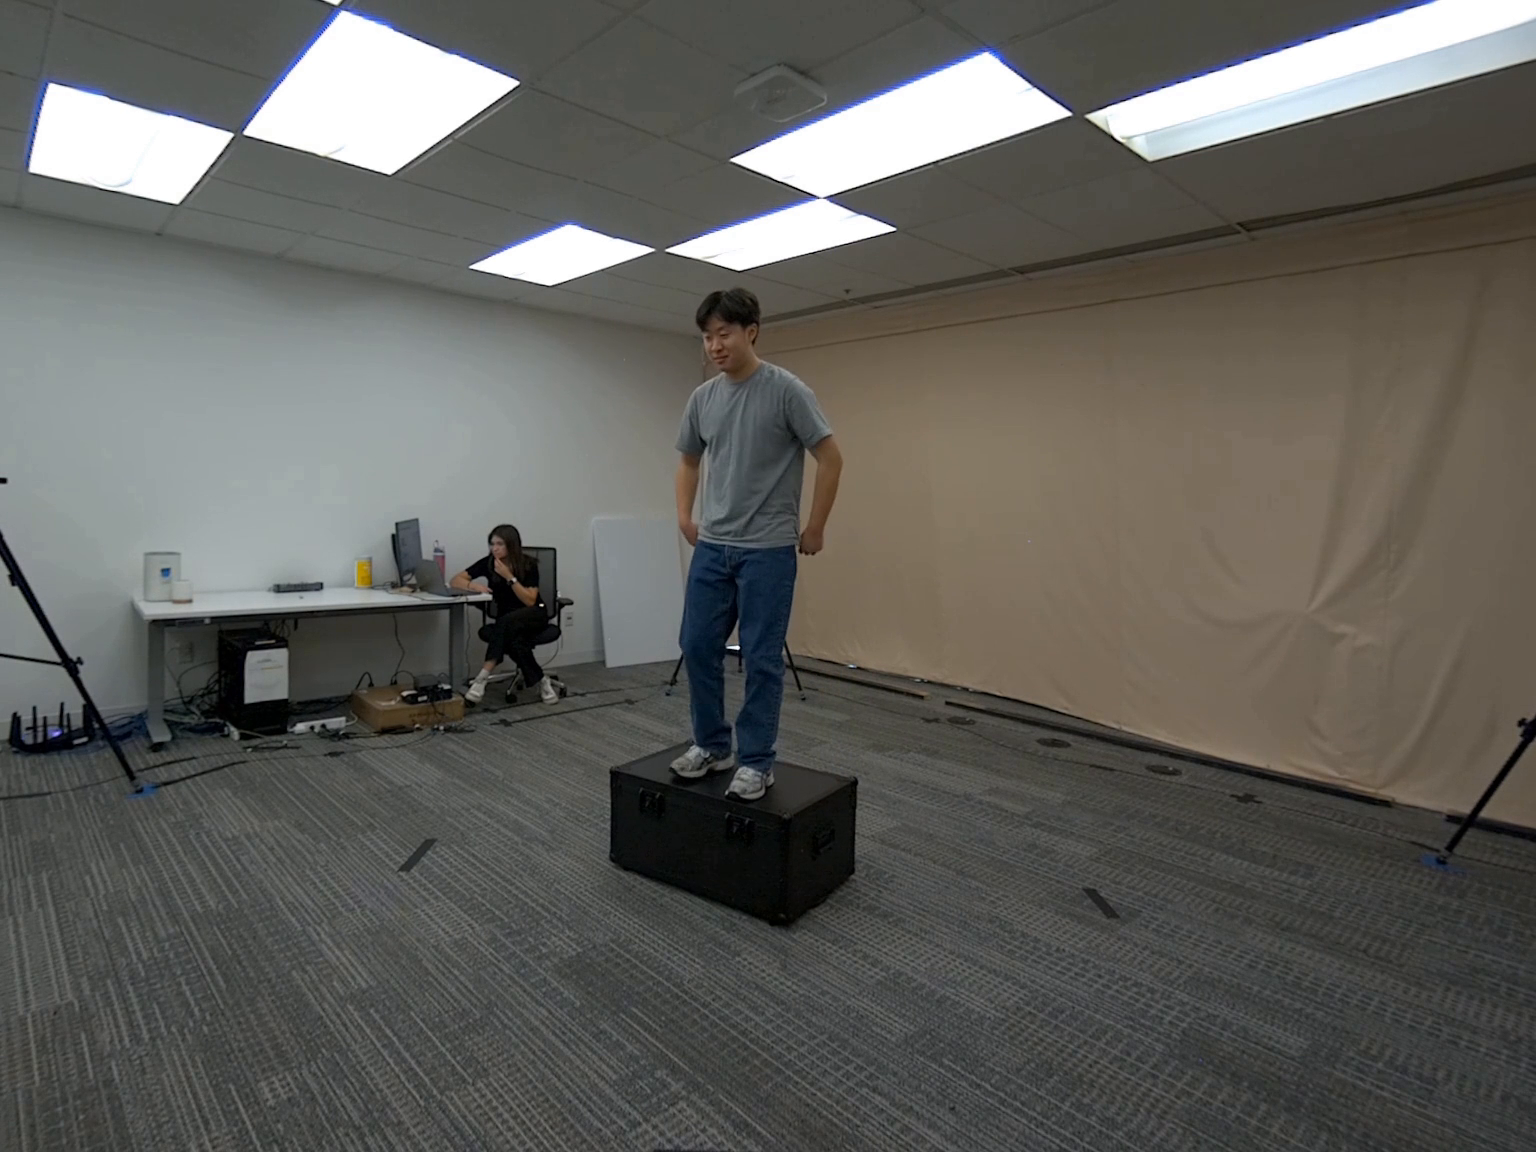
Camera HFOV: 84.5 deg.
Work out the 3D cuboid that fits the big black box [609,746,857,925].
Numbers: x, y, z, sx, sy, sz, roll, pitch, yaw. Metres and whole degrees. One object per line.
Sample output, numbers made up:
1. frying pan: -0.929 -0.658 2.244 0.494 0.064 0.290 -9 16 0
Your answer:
1. big black box: -0.165 0.912 3.133 0.882 0.395 0.510 5 6 34
